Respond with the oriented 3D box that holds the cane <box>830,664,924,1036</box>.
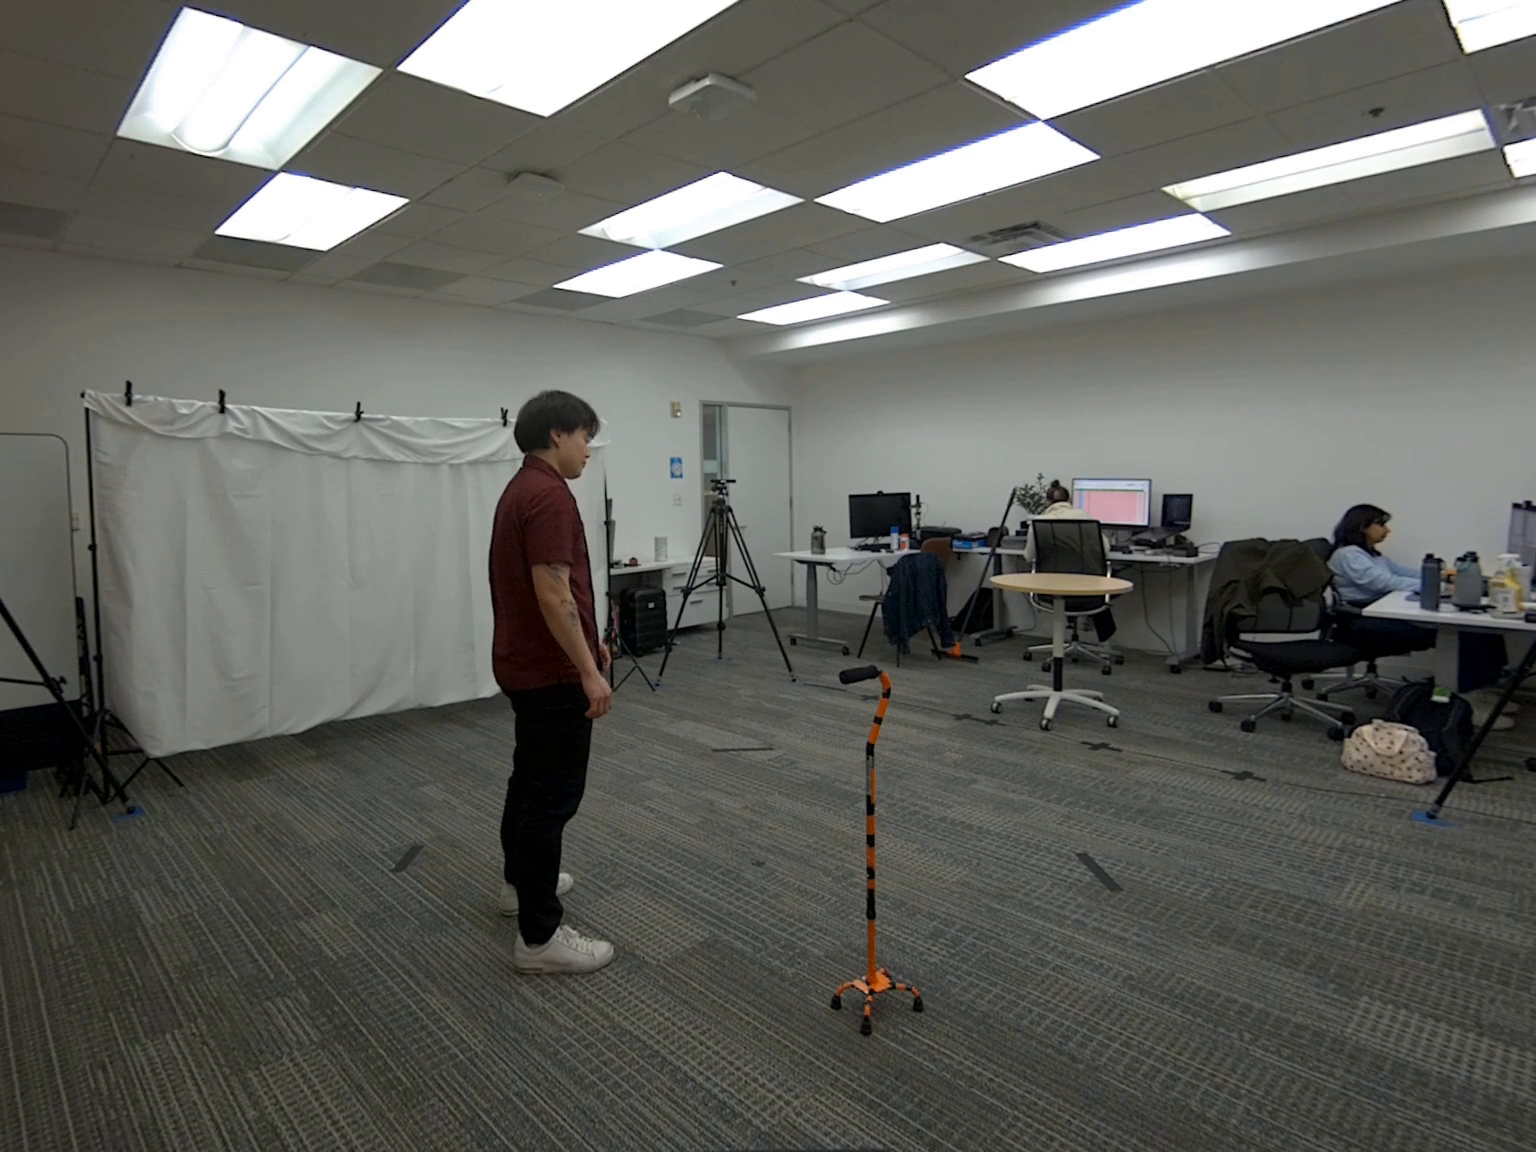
[{"bbox_3d":[0.277,0.684,2.229,0.202,0.904,0.156,-4,4,-30],"label":"cane"}]
